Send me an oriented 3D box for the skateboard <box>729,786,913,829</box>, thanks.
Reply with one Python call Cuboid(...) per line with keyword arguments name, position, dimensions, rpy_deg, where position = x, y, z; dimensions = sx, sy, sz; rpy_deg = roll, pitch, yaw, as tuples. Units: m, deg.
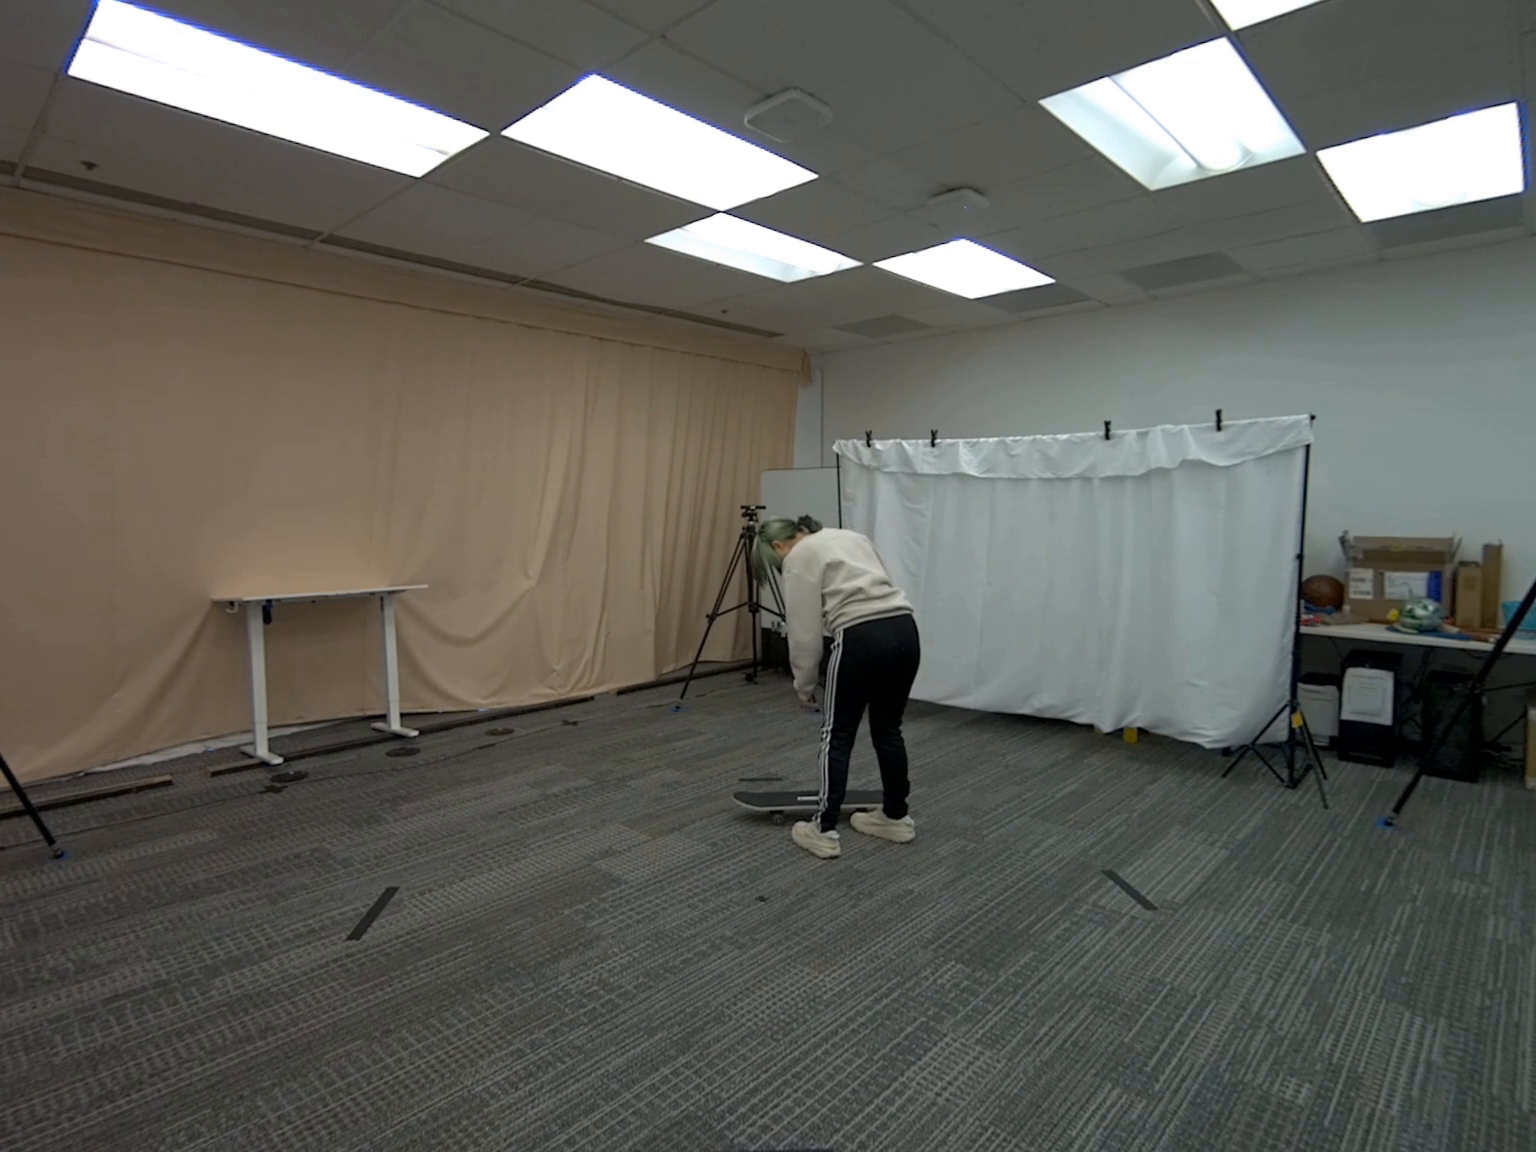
Cuboid(name="skateboard", position=(0.225, 1.021, 3.755), dimensions=(0.782, 0.110, 0.194), rpy_deg=(0, 3, -3))
